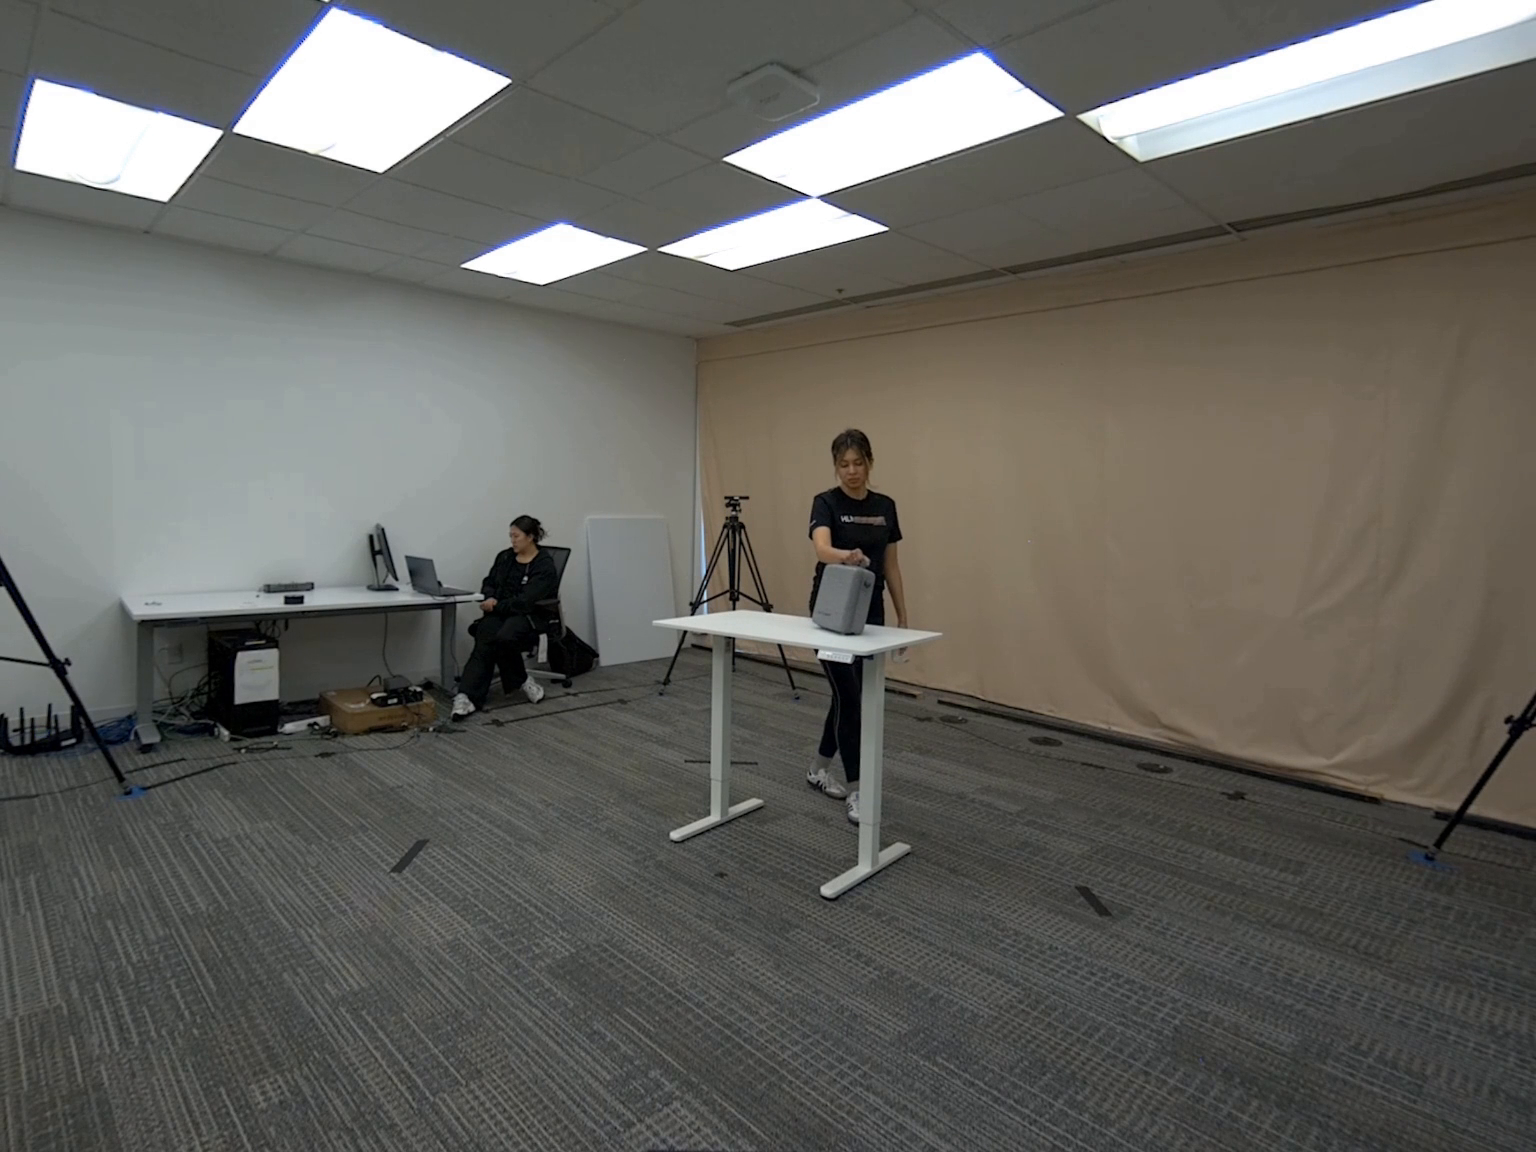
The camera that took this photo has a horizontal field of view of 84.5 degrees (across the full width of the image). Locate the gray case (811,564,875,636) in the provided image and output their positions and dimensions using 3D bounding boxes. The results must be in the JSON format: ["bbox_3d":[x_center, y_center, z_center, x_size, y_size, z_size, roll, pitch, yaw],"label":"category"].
[{"bbox_3d":[0.275,0.083,3.260,0.102,0.261,0.262,13,-2,-24],"label":"gray case"}]
